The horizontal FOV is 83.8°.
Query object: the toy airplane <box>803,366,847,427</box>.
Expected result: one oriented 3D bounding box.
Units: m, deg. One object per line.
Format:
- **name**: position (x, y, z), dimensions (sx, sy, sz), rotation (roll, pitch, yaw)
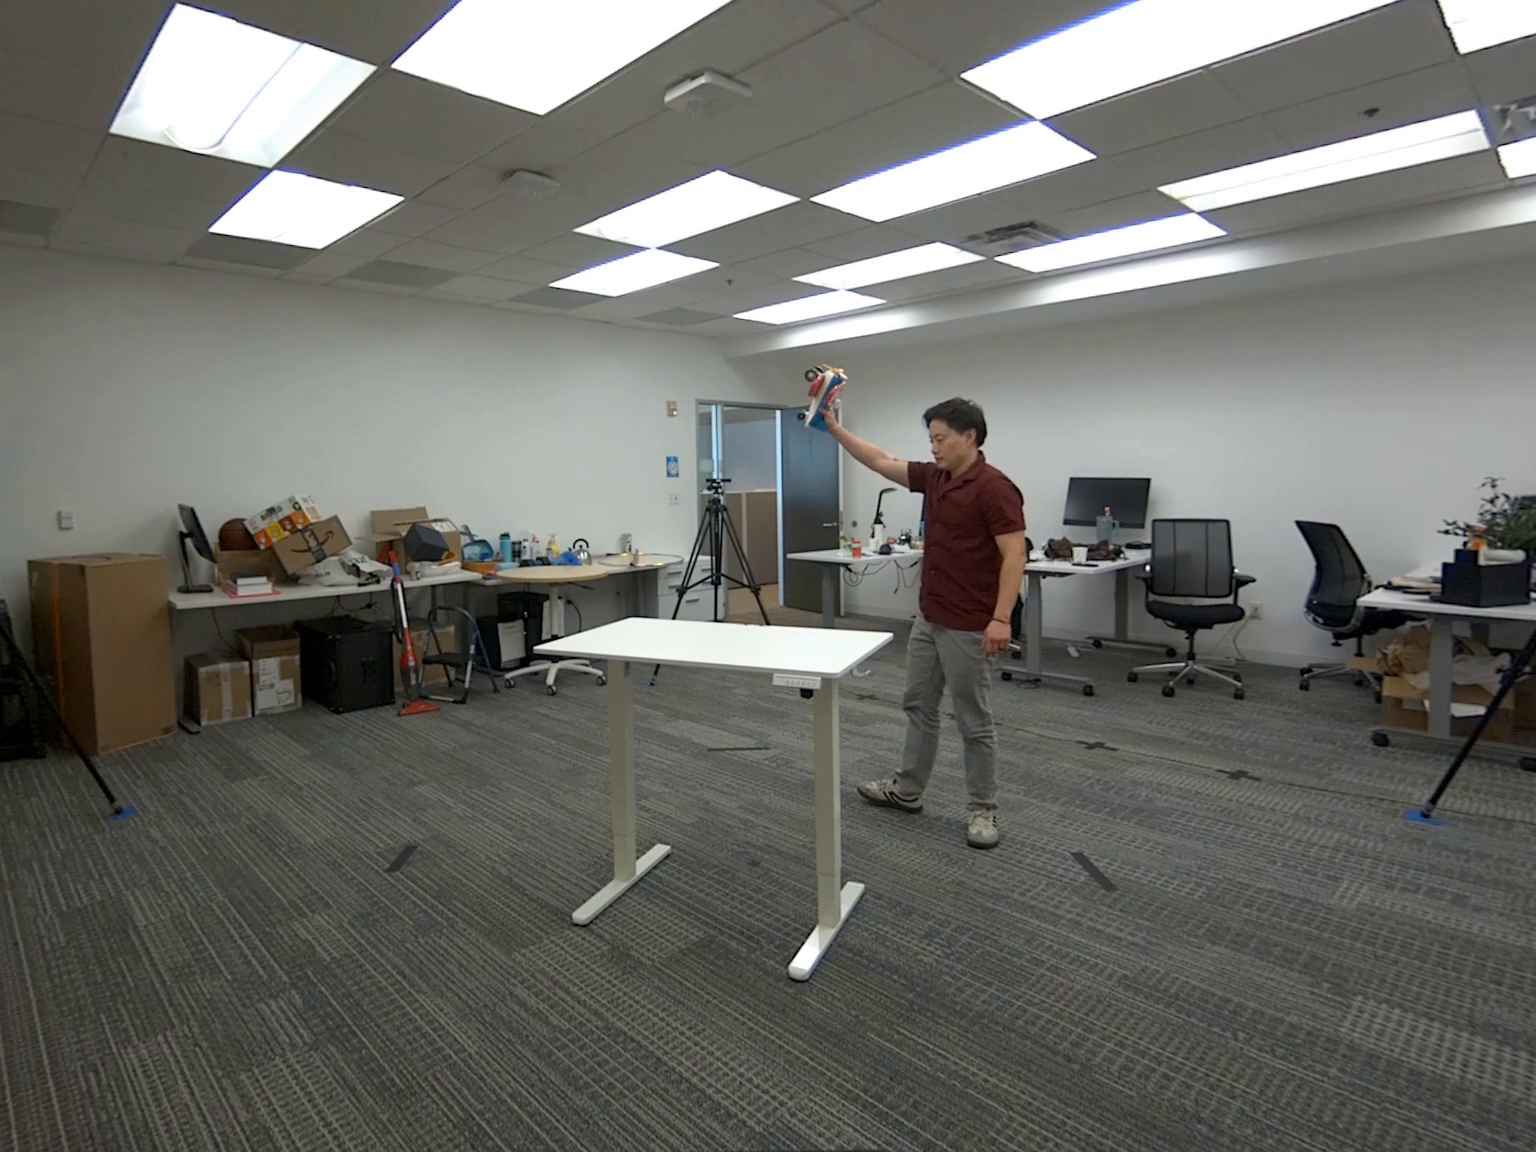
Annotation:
- **toy airplane**: position (0.221, -0.739, 3.497), dimensions (0.159, 0.252, 0.253), rotation (17, 49, 13)
